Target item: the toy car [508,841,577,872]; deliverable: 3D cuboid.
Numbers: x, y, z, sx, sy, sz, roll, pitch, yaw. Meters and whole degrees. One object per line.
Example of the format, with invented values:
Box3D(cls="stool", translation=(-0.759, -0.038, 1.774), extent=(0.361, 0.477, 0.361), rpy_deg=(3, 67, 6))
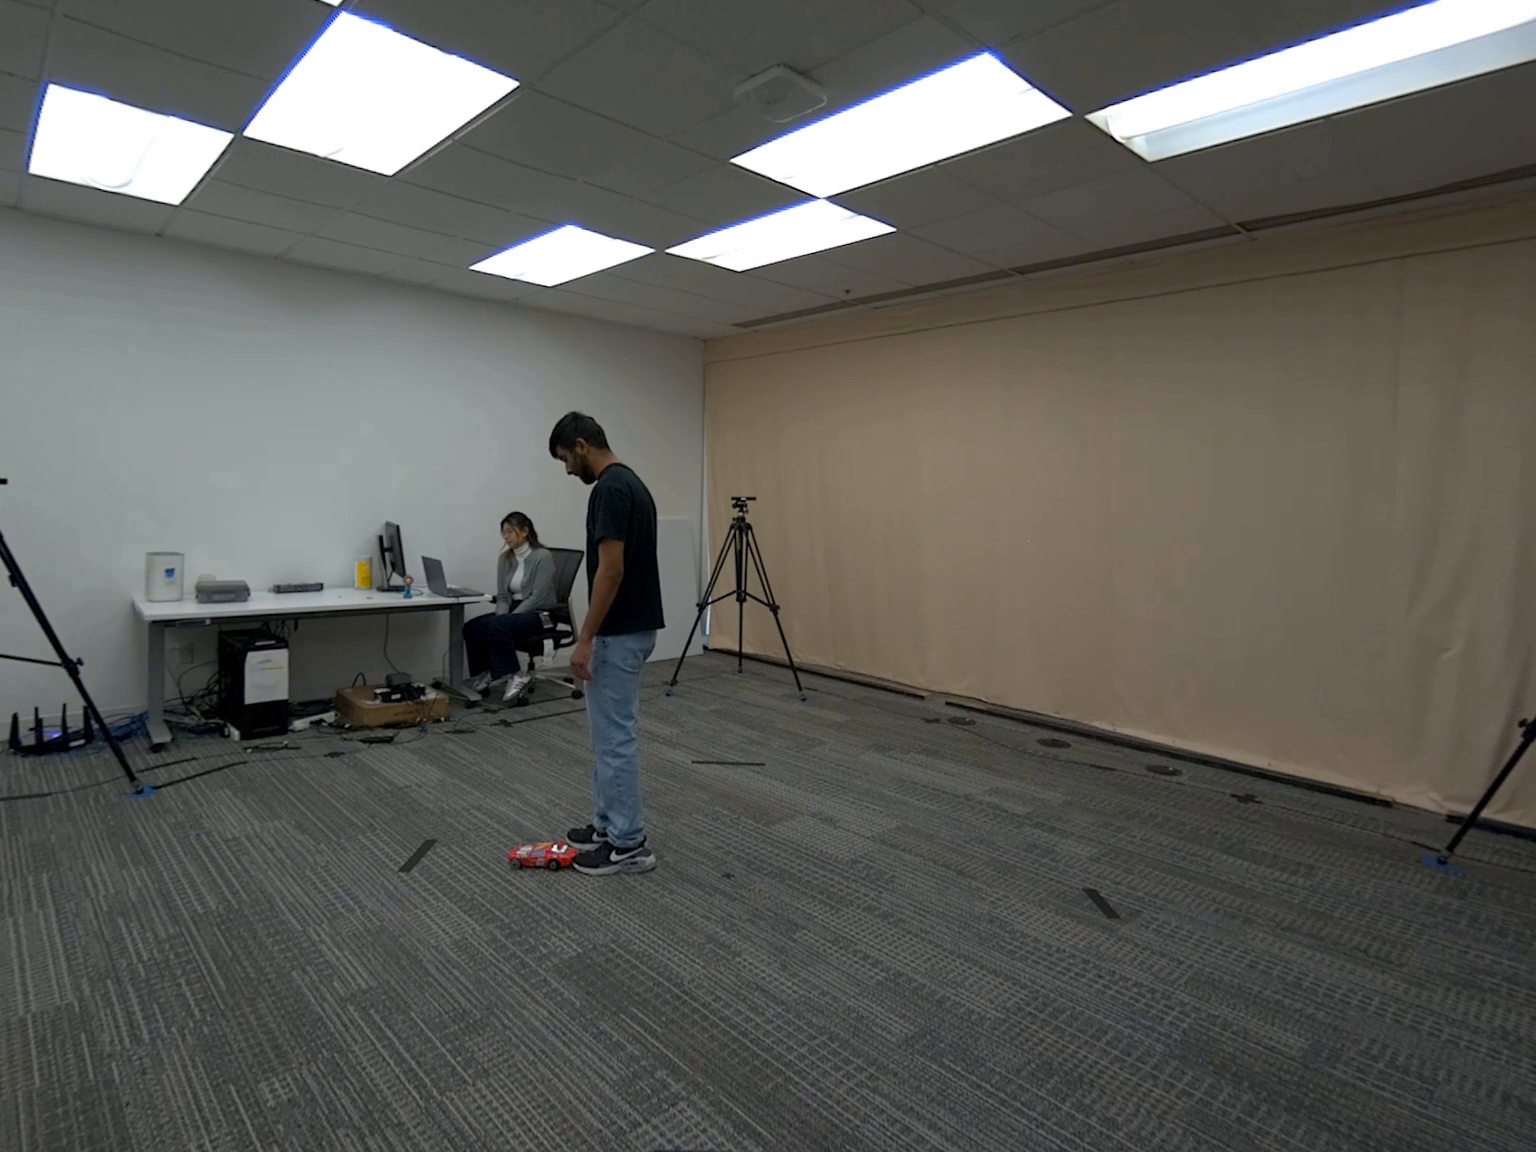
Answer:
Box3D(cls="toy car", translation=(-0.841, 1.045, 3.165), extent=(0.255, 0.083, 0.130), rpy_deg=(-9, 4, 5))
